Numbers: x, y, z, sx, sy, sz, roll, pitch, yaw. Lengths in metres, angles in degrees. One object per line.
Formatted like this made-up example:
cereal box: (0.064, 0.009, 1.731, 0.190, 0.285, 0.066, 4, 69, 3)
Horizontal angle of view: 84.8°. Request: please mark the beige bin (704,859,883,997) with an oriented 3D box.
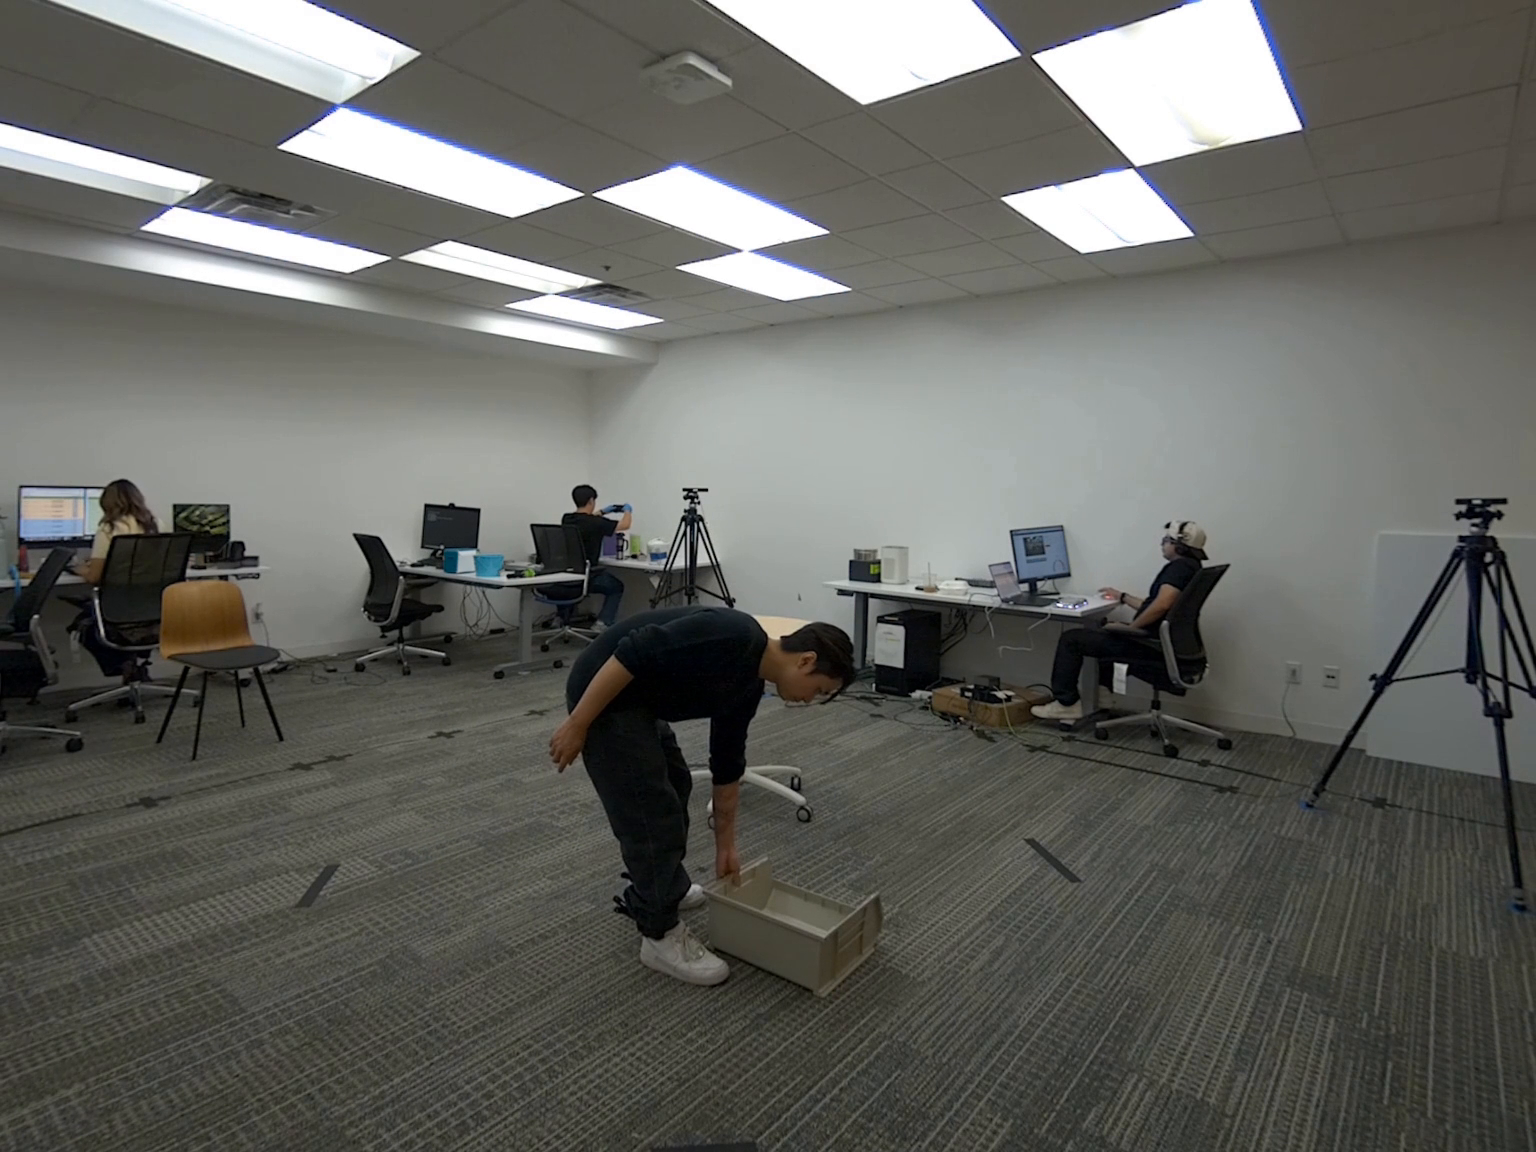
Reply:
beige bin: (0.073, 1.035, 2.587, 0.436, 0.188, 0.367, 6, 7, 35)
